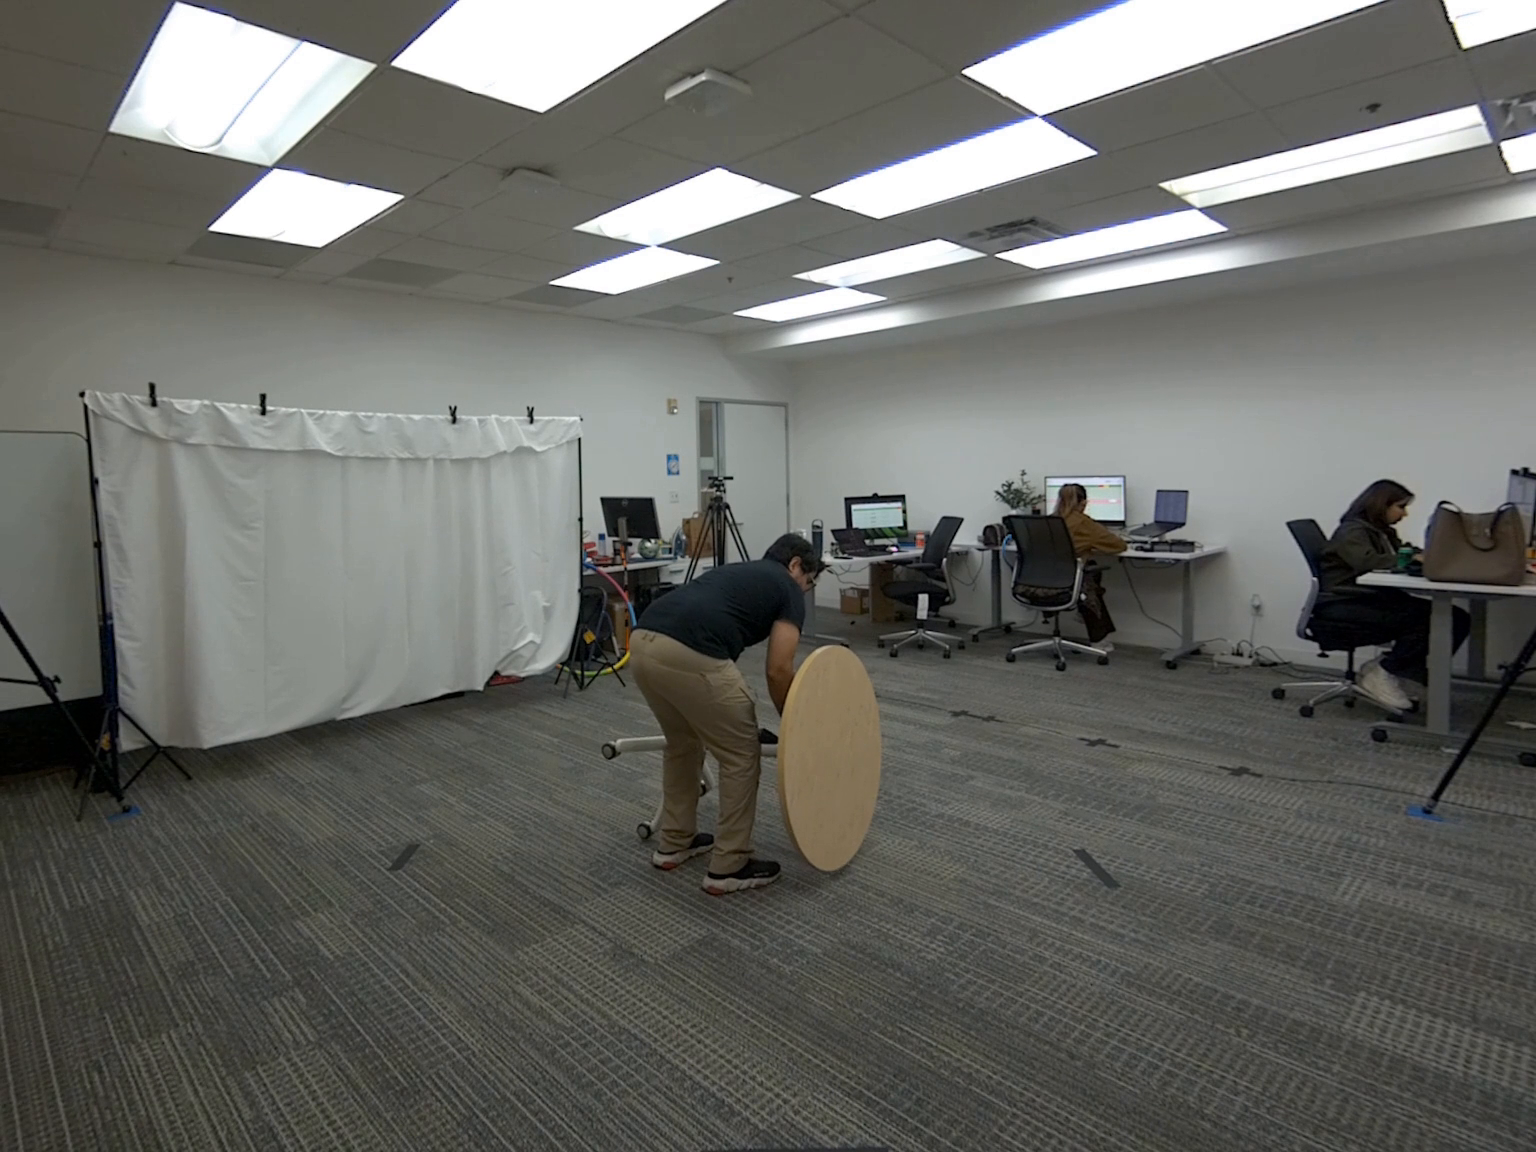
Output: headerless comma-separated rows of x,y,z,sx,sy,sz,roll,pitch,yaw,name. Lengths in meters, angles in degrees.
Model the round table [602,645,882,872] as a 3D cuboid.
-0.093,0.634,3.230,0.806,0.783,0.767,-2,3,32,round table
